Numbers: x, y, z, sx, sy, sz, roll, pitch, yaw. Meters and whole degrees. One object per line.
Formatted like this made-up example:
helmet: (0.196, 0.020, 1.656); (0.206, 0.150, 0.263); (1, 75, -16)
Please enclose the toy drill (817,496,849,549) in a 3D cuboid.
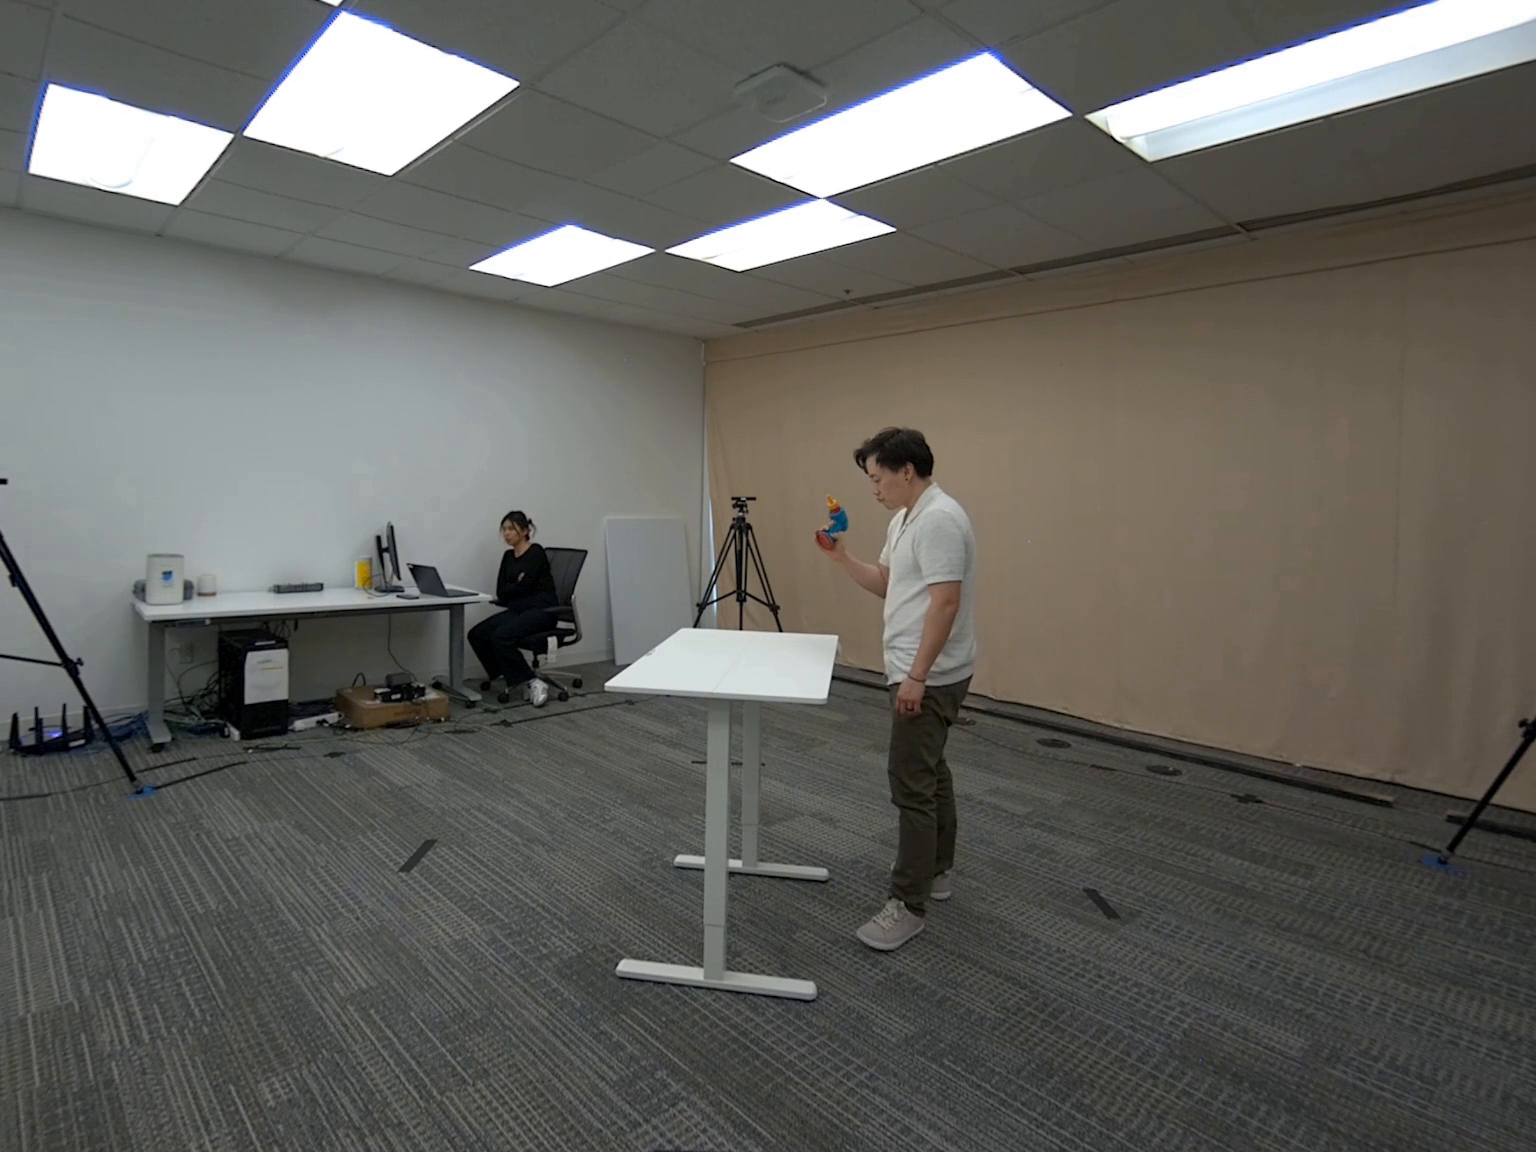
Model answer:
toy drill: (0.215, -0.199, 3.000); (0.063, 0.165, 0.146); (9, 46, 44)
